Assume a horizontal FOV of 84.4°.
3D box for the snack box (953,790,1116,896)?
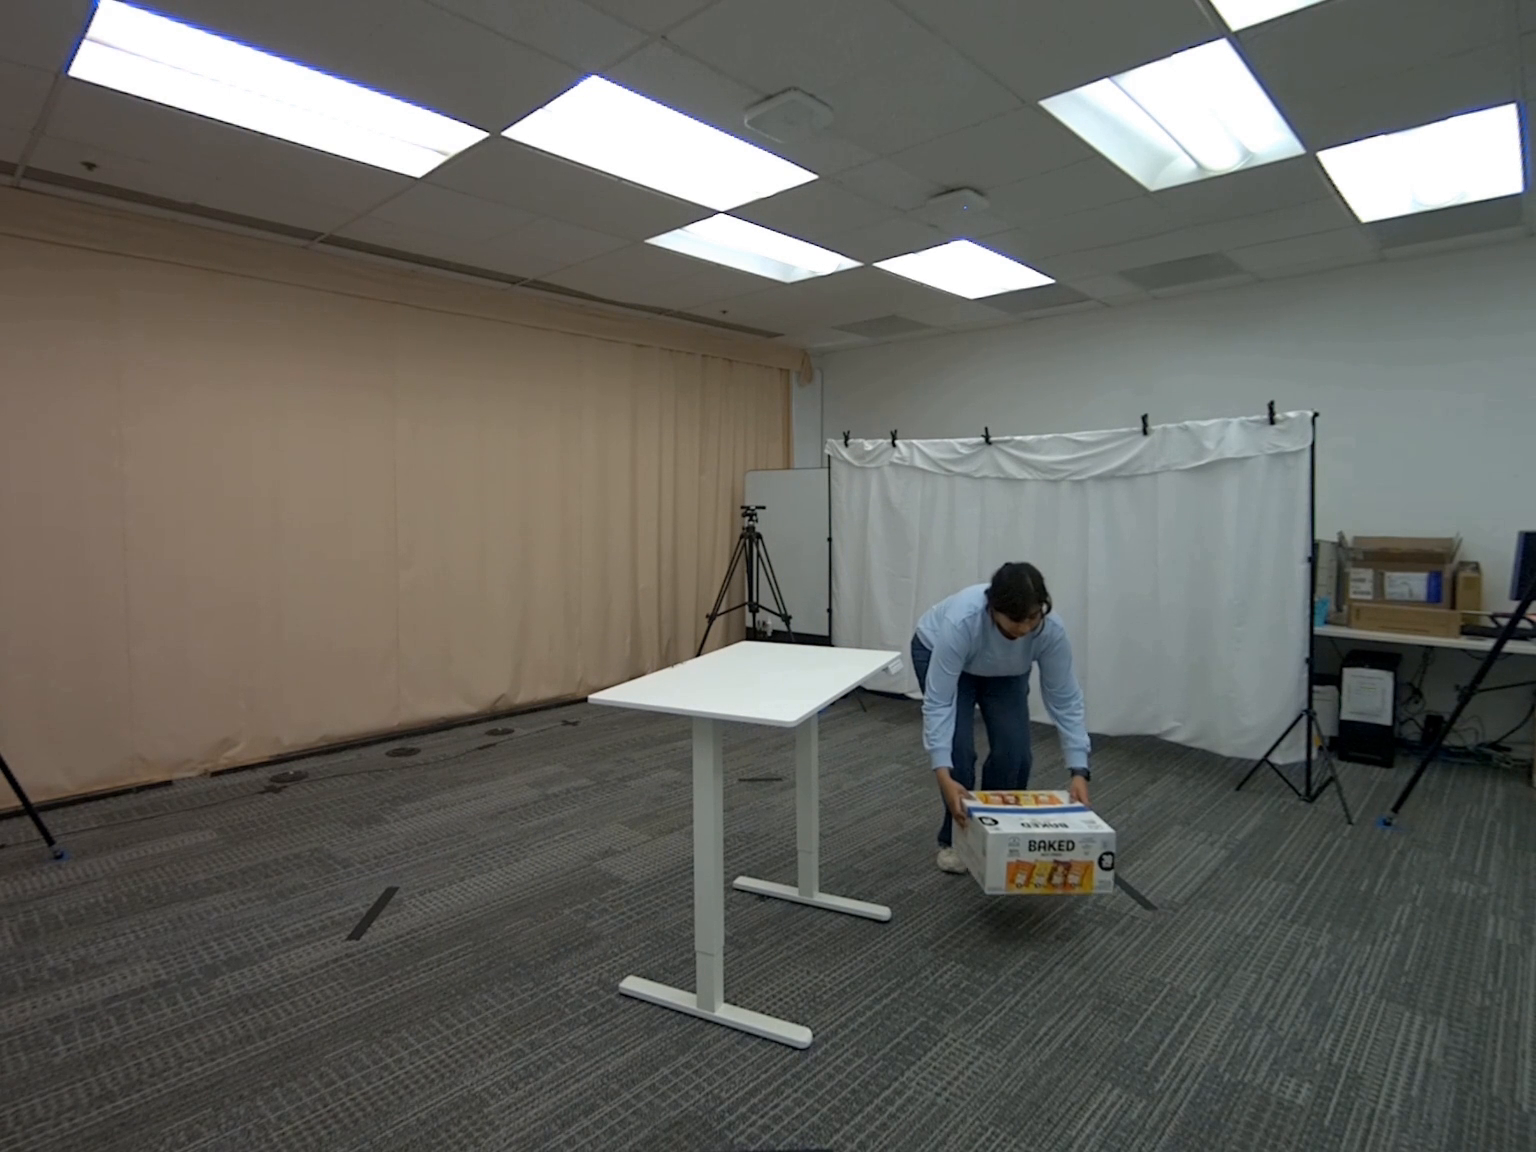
[{"bbox_3d":[0.859,0.864,2.777,0.404,0.205,0.343,0,6,-4],"label":"snack box"}]
